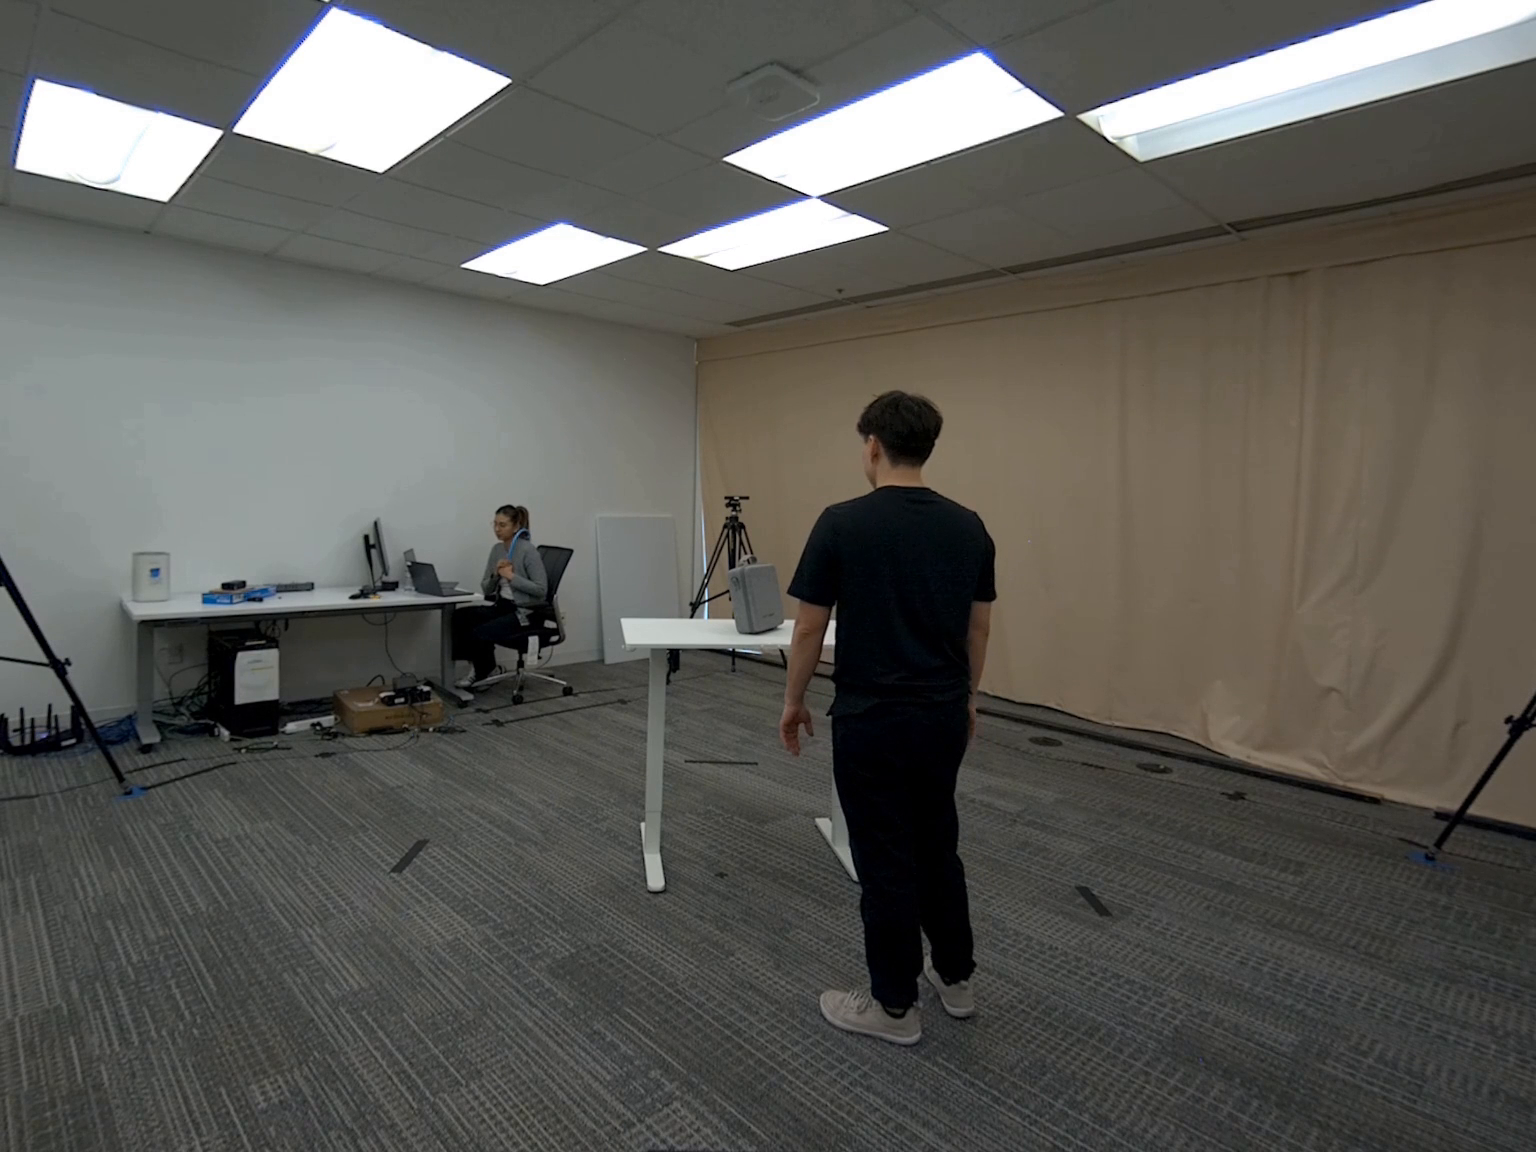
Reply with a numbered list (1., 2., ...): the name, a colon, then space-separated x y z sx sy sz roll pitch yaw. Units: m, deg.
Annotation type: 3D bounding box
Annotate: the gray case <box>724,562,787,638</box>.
1. gray case: -0.047 0.085 3.241 0.106 0.261 0.252 -9 -3 24
